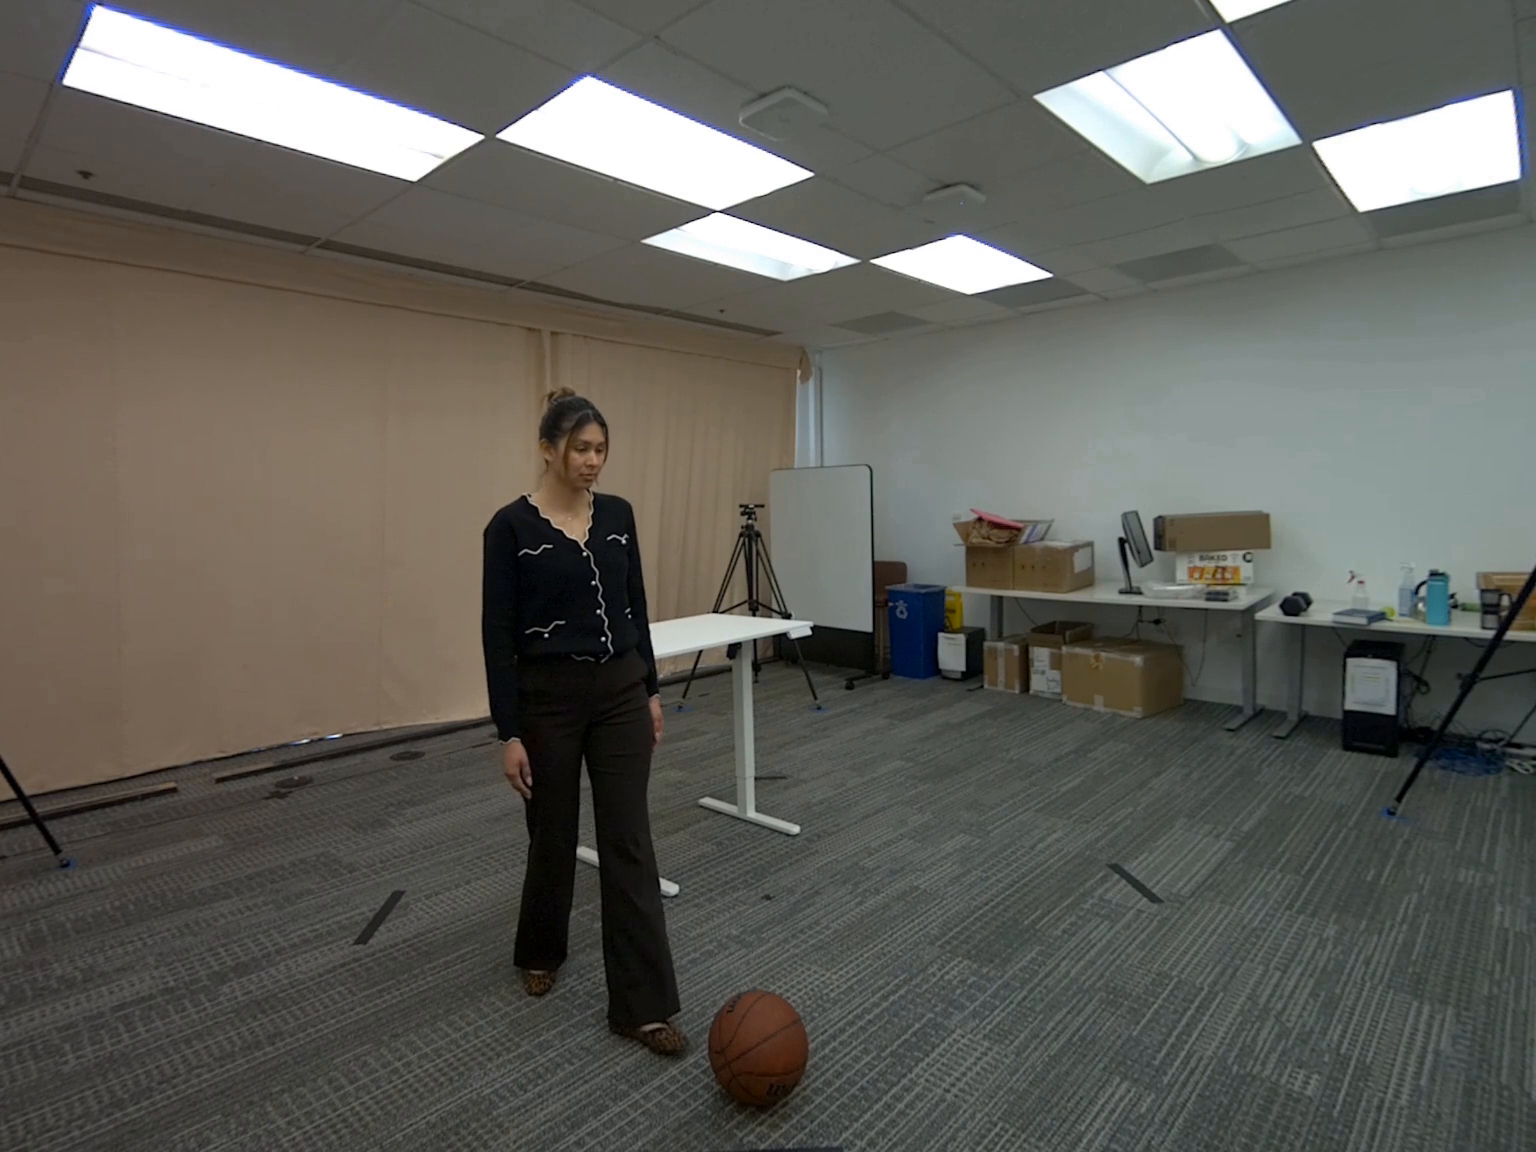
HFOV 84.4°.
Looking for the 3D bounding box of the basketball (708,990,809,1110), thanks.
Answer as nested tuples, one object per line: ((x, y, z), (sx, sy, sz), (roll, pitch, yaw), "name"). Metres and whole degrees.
((-0.023, 1.113, 1.976), (0.236, 0.235, 0.237), (-1, 4, -2), "basketball")
